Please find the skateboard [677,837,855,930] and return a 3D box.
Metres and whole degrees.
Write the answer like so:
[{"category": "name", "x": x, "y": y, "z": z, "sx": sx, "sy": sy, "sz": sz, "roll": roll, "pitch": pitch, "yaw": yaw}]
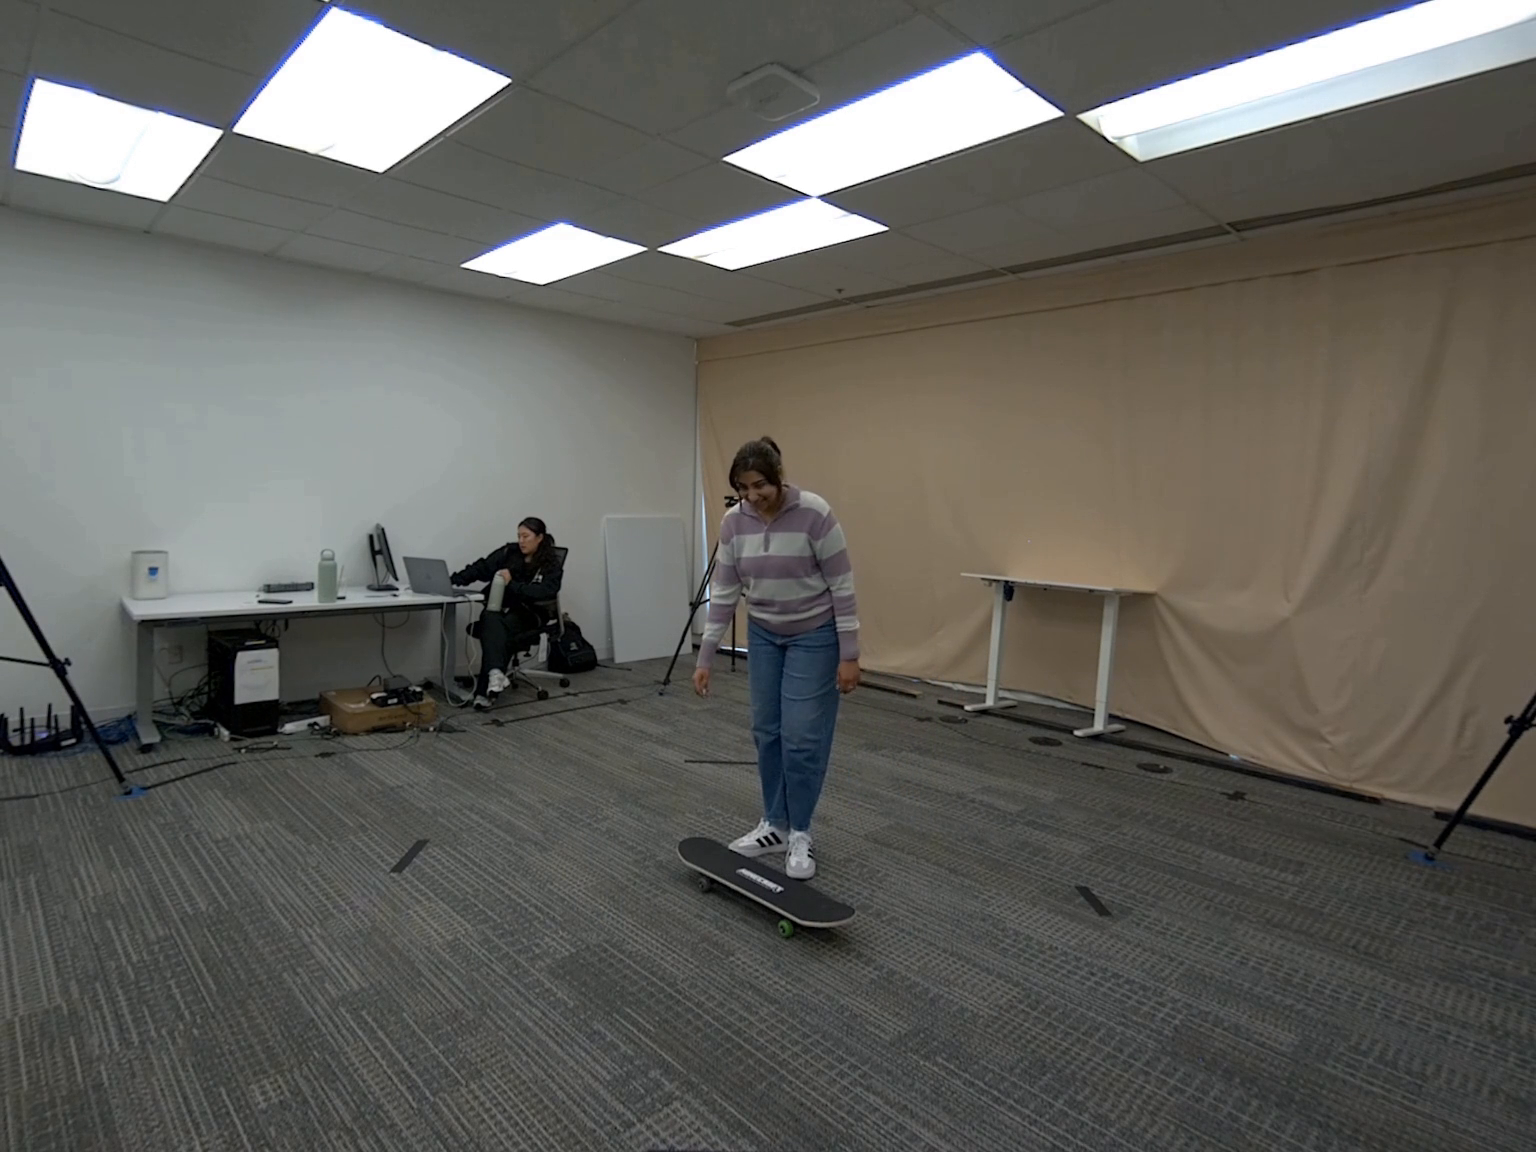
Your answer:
[{"category": "skateboard", "x": -0.036, "y": 1.069, "z": 2.879, "sx": 0.189, "sy": 0.110, "sz": 0.806, "roll": -3, "pitch": 7, "yaw": -43}]
